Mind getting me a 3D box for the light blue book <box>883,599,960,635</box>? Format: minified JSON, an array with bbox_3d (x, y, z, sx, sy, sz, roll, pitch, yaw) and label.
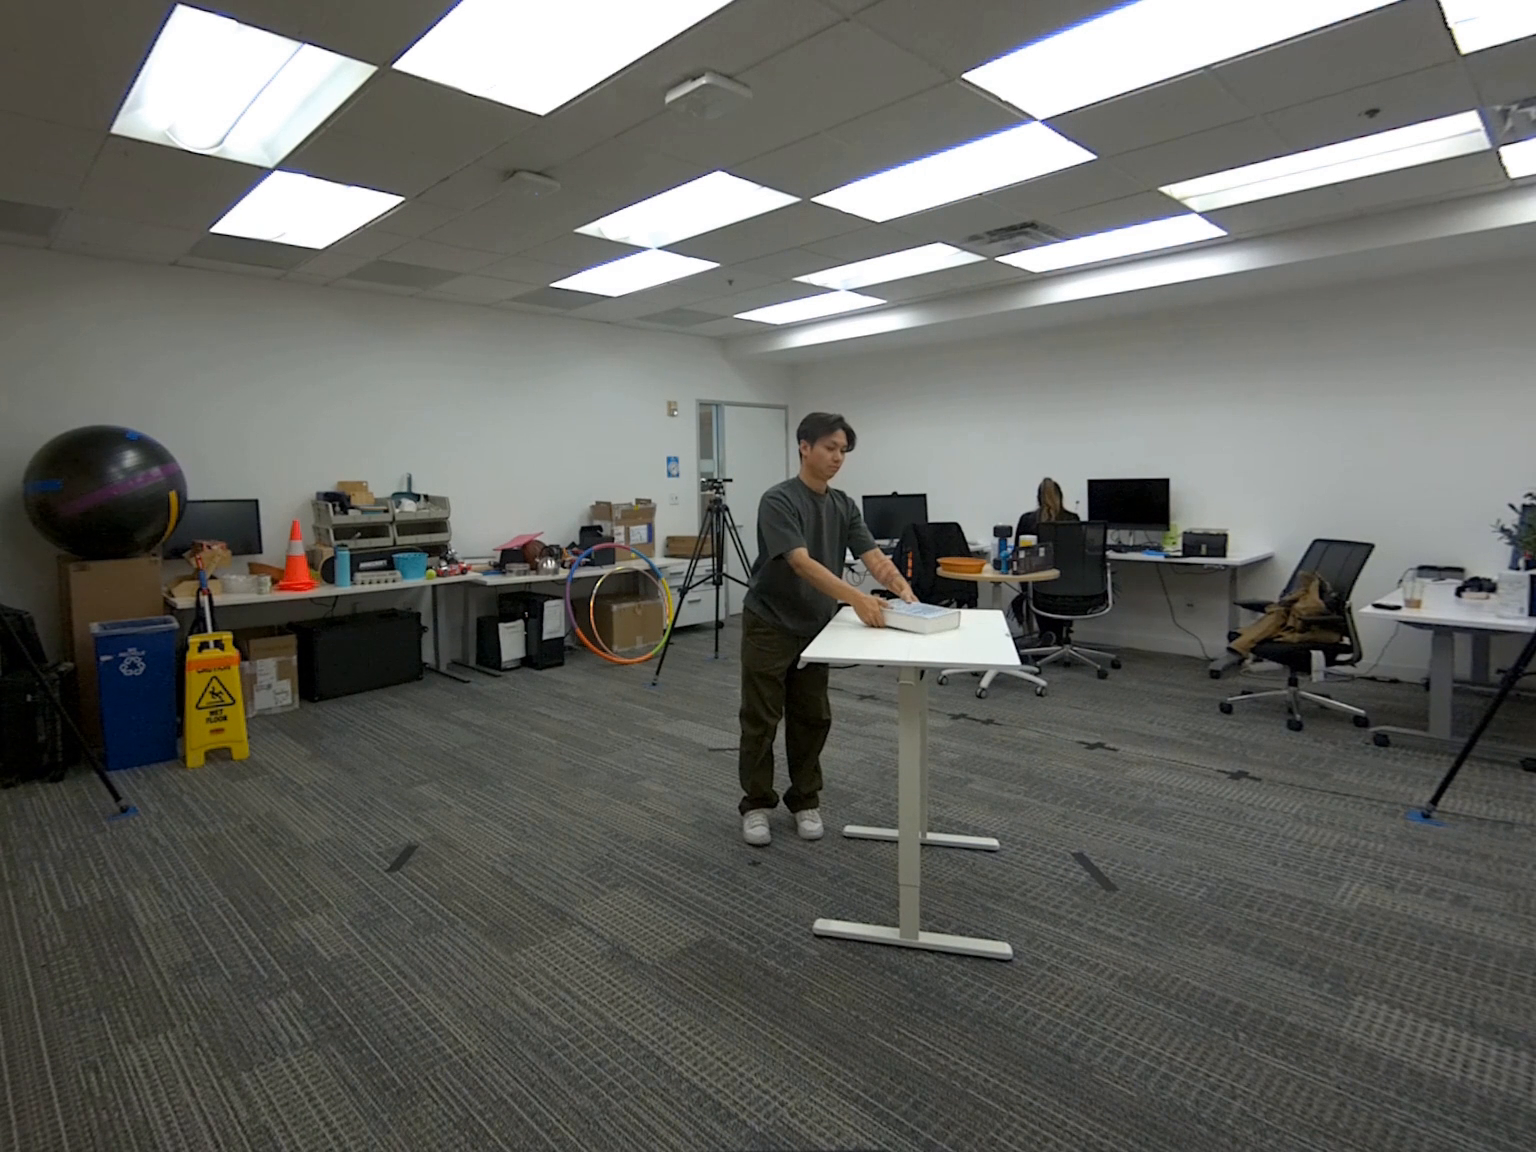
[{"bbox_3d":[0.505,0.138,2.907,0.186,0.059,0.269,-7,10,-41],"label":"light blue book"}]
